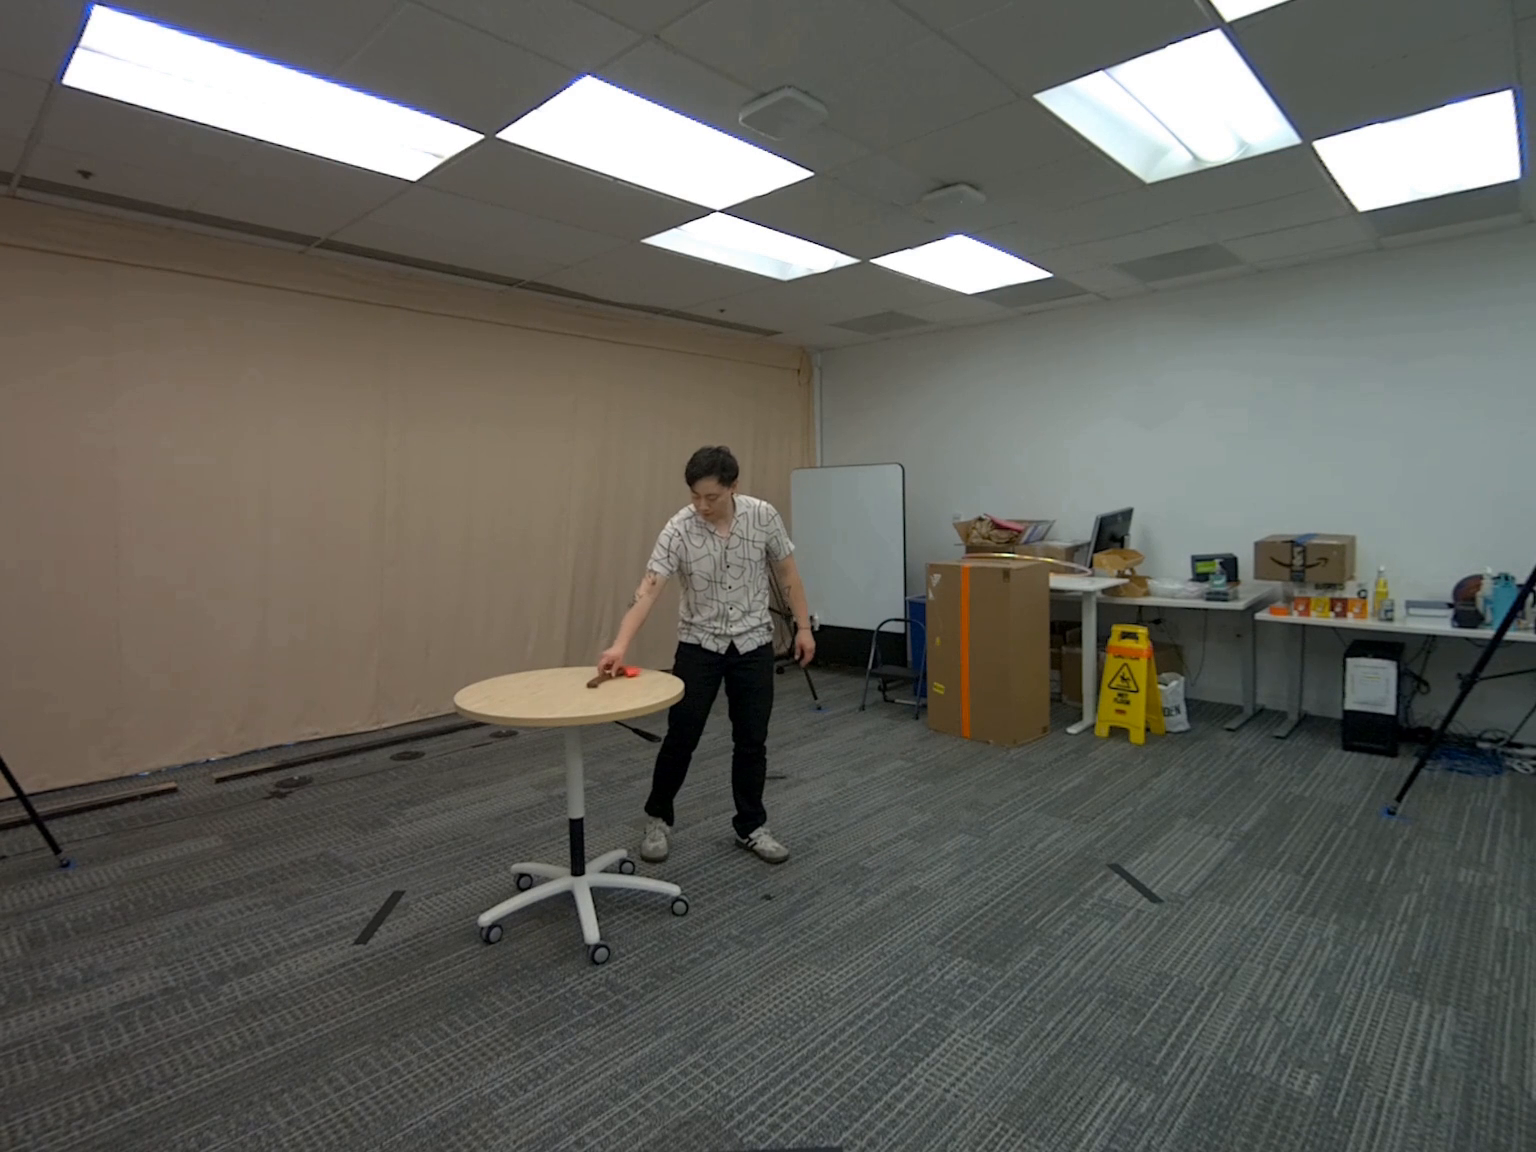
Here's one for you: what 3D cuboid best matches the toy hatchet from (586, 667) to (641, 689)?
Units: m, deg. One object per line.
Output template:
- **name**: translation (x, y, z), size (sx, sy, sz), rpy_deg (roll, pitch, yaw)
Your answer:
- **toy hatchet**: translation (-0.542, 0.360, 2.966), size (0.132, 0.029, 0.268), rpy_deg (-2, 5, 9)
